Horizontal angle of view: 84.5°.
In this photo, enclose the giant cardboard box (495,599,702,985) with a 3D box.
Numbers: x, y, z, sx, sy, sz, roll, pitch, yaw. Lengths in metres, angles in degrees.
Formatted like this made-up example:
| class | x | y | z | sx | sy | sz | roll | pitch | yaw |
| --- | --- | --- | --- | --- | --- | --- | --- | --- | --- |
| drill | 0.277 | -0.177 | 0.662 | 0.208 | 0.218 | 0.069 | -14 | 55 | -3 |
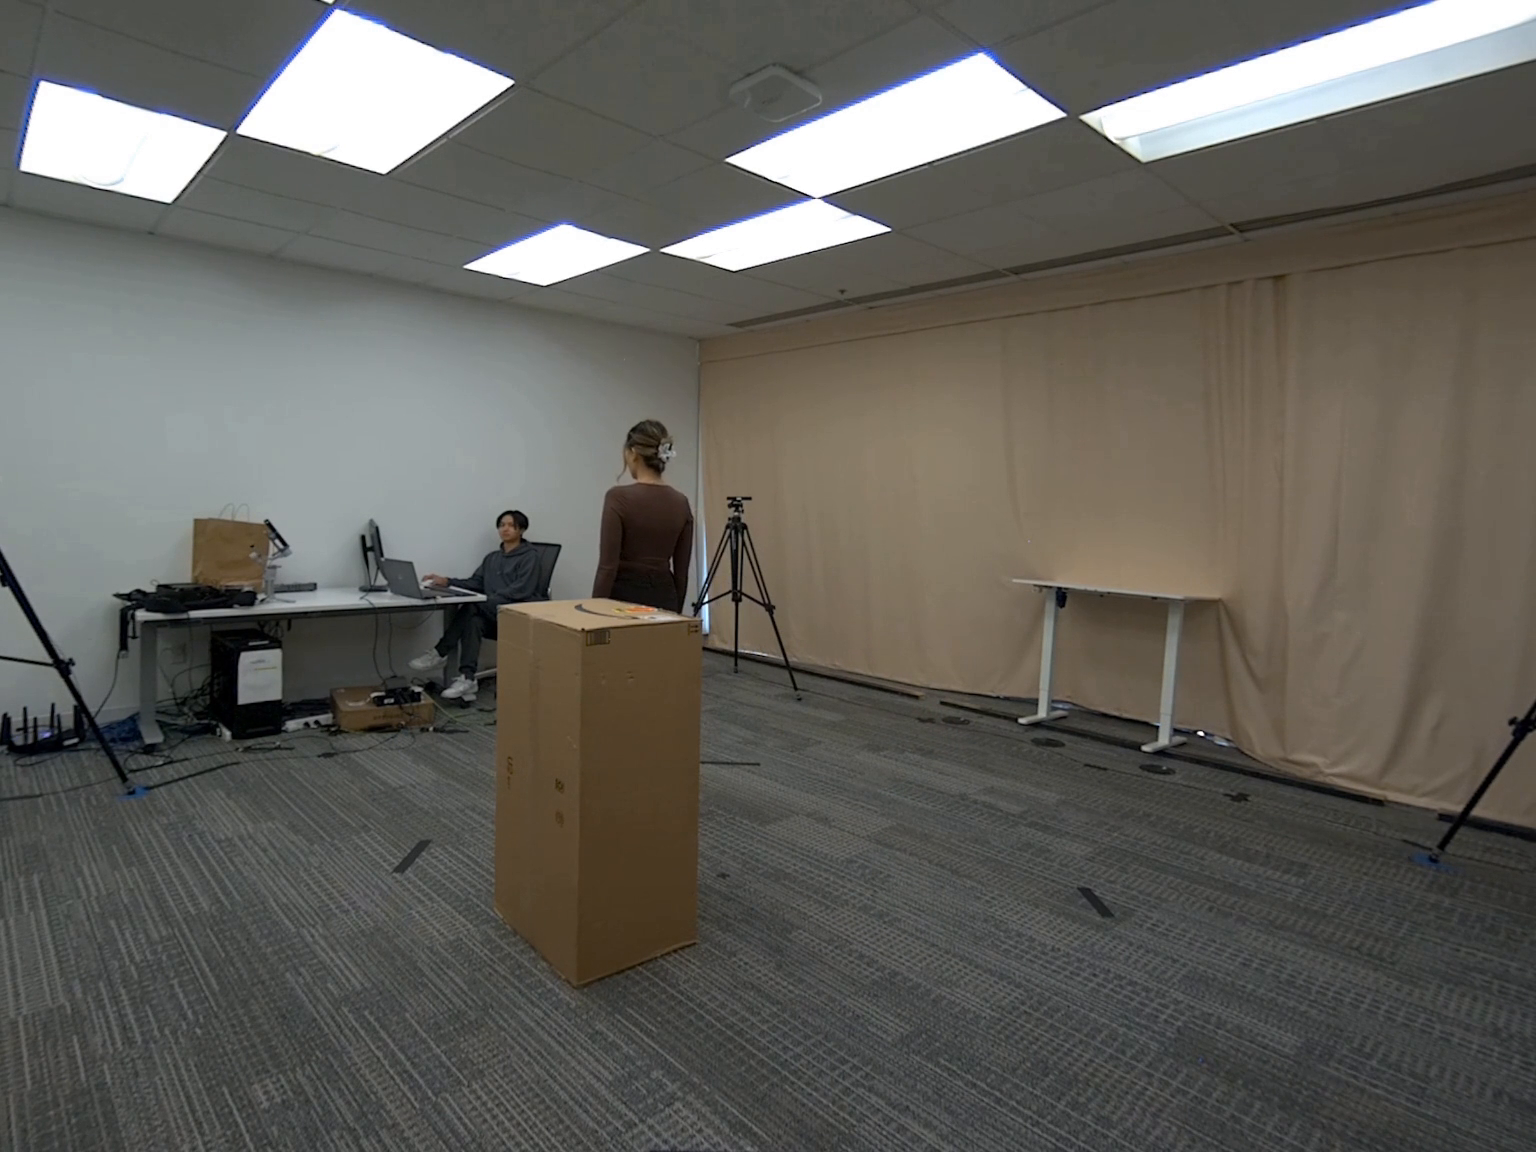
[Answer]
| class | x | y | z | sx | sy | sz | roll | pitch | yaw |
| --- | --- | --- | --- | --- | --- | --- | --- | --- | --- |
| giant cardboard box | -0.563 | 0.624 | 2.697 | 0.436 | 1.025 | 0.598 | 0 | 3 | -39 |
